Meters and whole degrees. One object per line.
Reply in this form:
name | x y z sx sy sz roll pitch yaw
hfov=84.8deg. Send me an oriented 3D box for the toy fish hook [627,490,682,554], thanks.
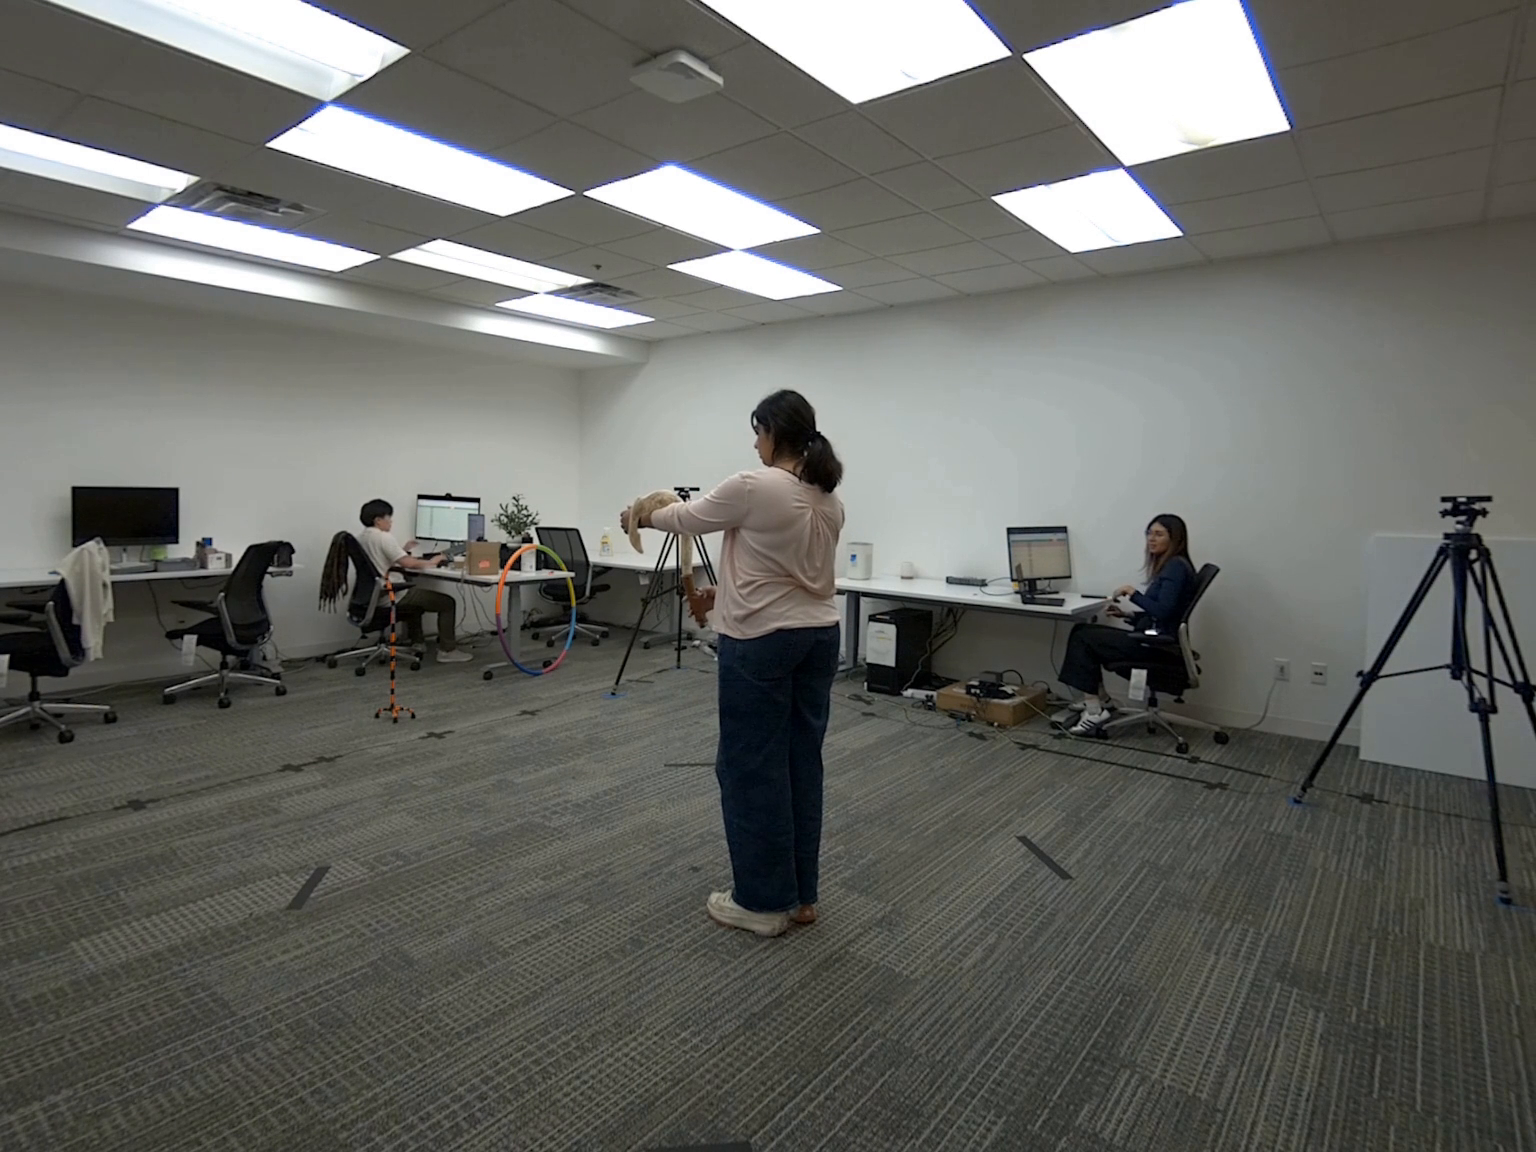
toy fish hook | -0.352 -0.046 2.950 0.226 0.505 0.048 -15 1 7
